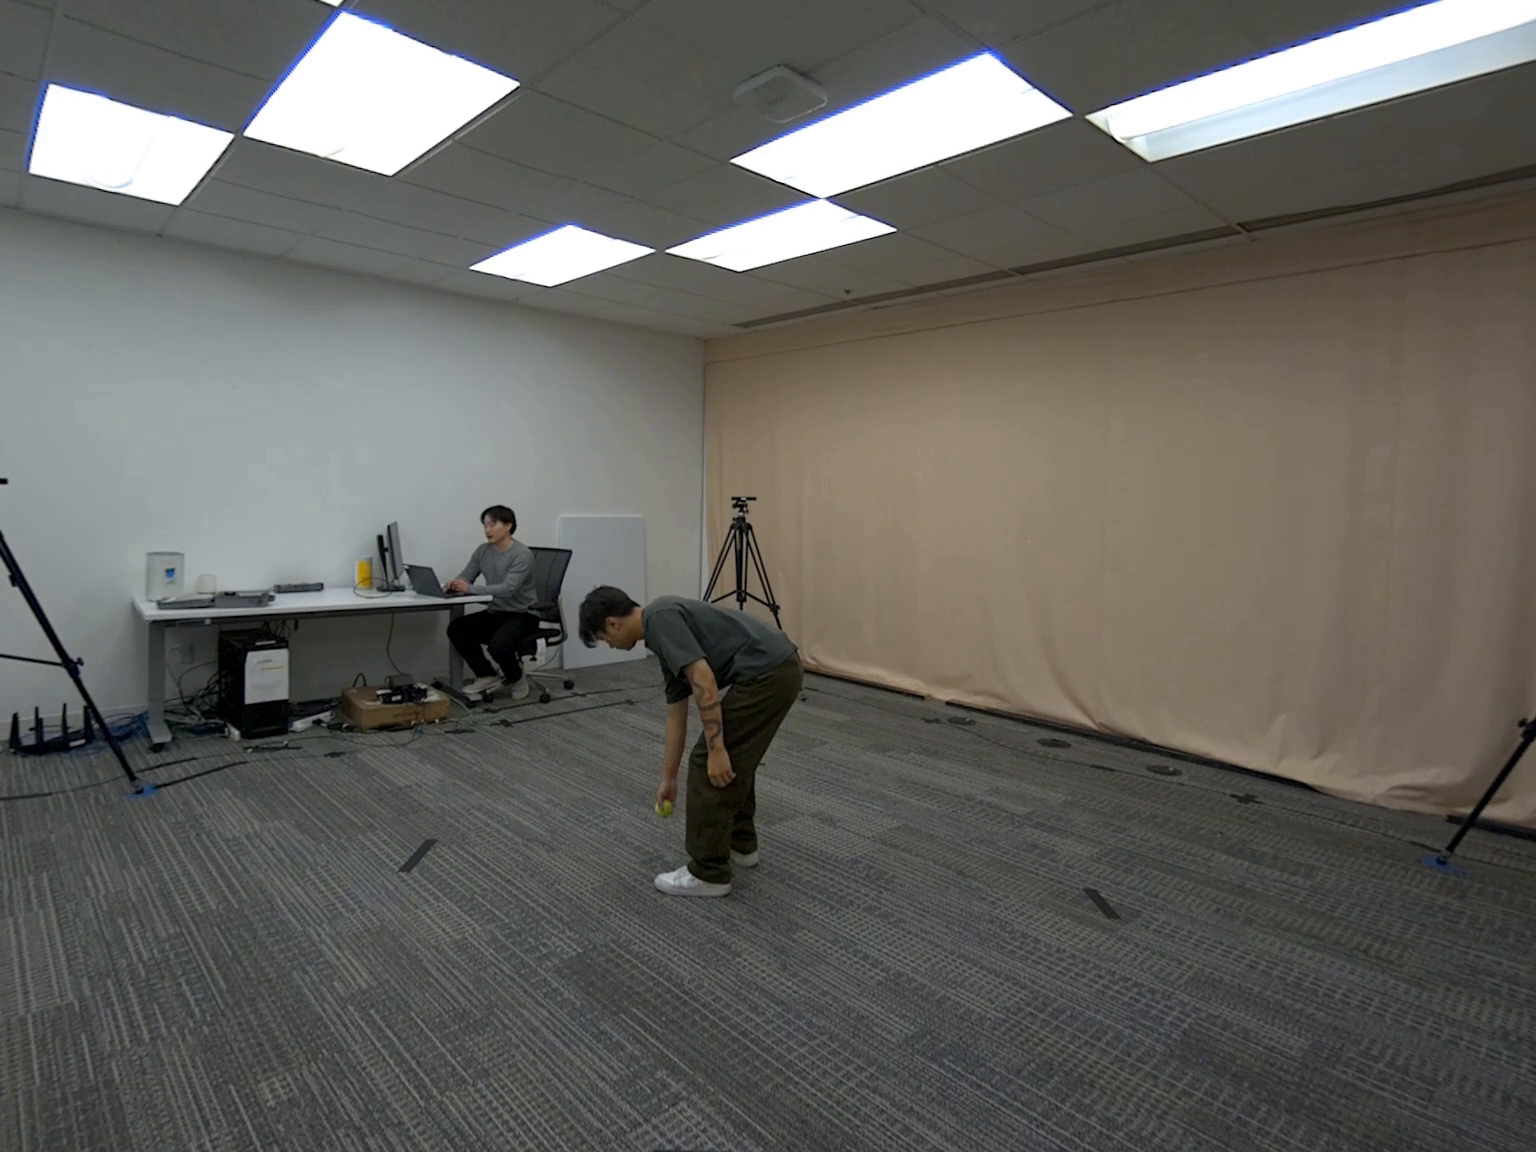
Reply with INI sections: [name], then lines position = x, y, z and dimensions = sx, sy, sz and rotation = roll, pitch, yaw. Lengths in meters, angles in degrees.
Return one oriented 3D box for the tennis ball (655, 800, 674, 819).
[tennis ball]
position = -0.412, 0.907, 3.302
dimensions = 0.066, 0.066, 0.067
rotation = 1, 4, -1
